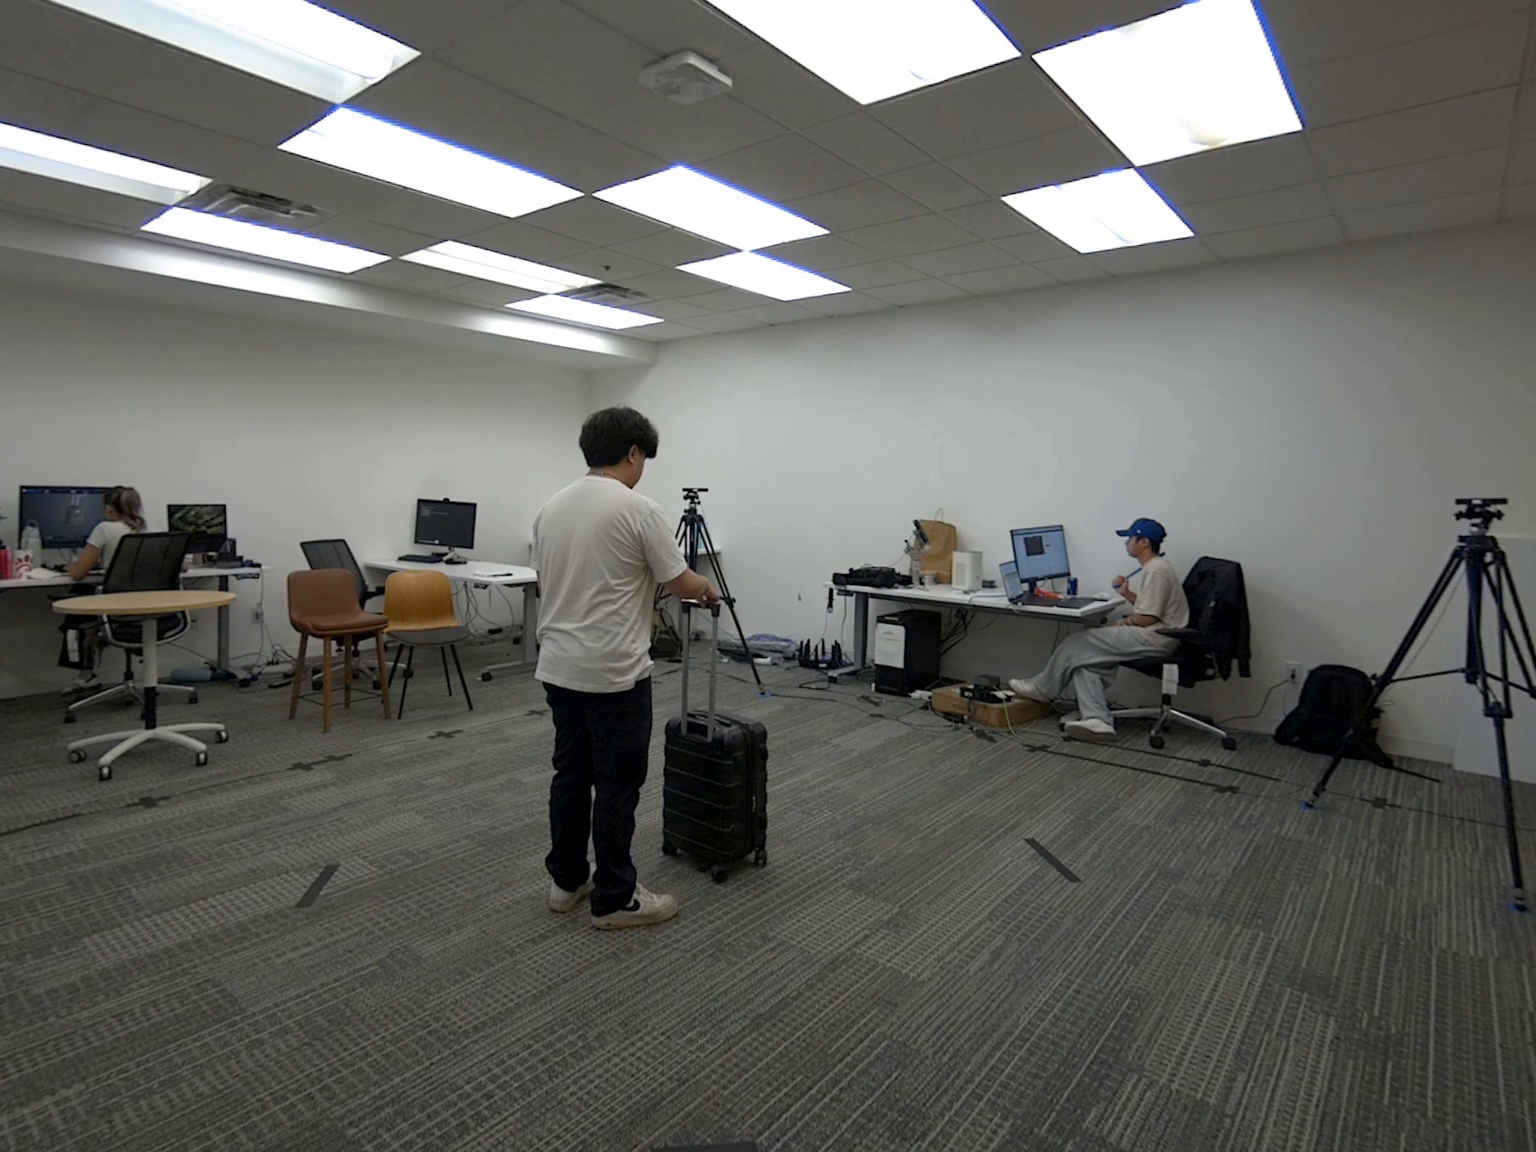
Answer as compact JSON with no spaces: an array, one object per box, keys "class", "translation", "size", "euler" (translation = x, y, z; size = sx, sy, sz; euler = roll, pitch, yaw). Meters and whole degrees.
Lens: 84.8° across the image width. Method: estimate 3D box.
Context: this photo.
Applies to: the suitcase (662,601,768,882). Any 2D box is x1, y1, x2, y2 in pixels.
[{"class":"suitcase","translation":[-0.205,0.585,3.185],"size":[0.397,0.977,0.249],"euler":[3,3,41]}]
